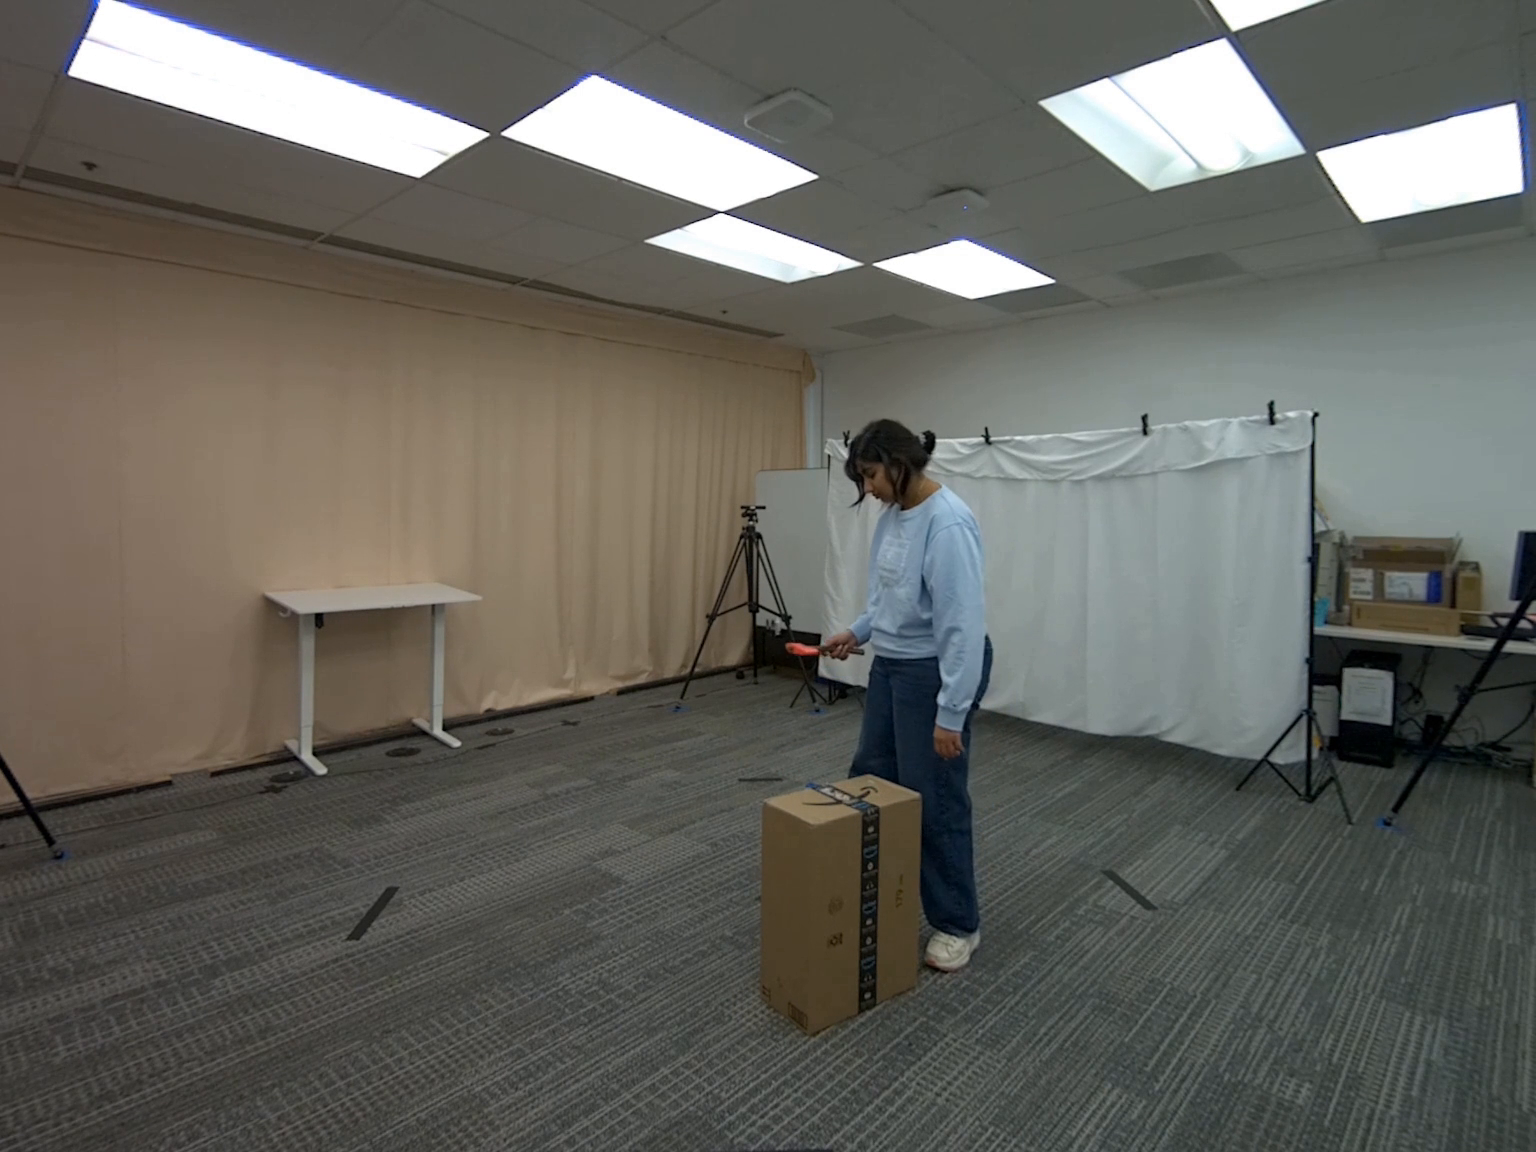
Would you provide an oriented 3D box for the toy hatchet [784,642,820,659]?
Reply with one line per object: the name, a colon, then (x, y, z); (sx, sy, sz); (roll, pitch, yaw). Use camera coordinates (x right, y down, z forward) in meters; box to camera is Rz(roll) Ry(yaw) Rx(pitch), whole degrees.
toy hatchet: (0.211, 0.254, 2.739); (0.270, 0.029, 0.131); (4, 1, 0)
